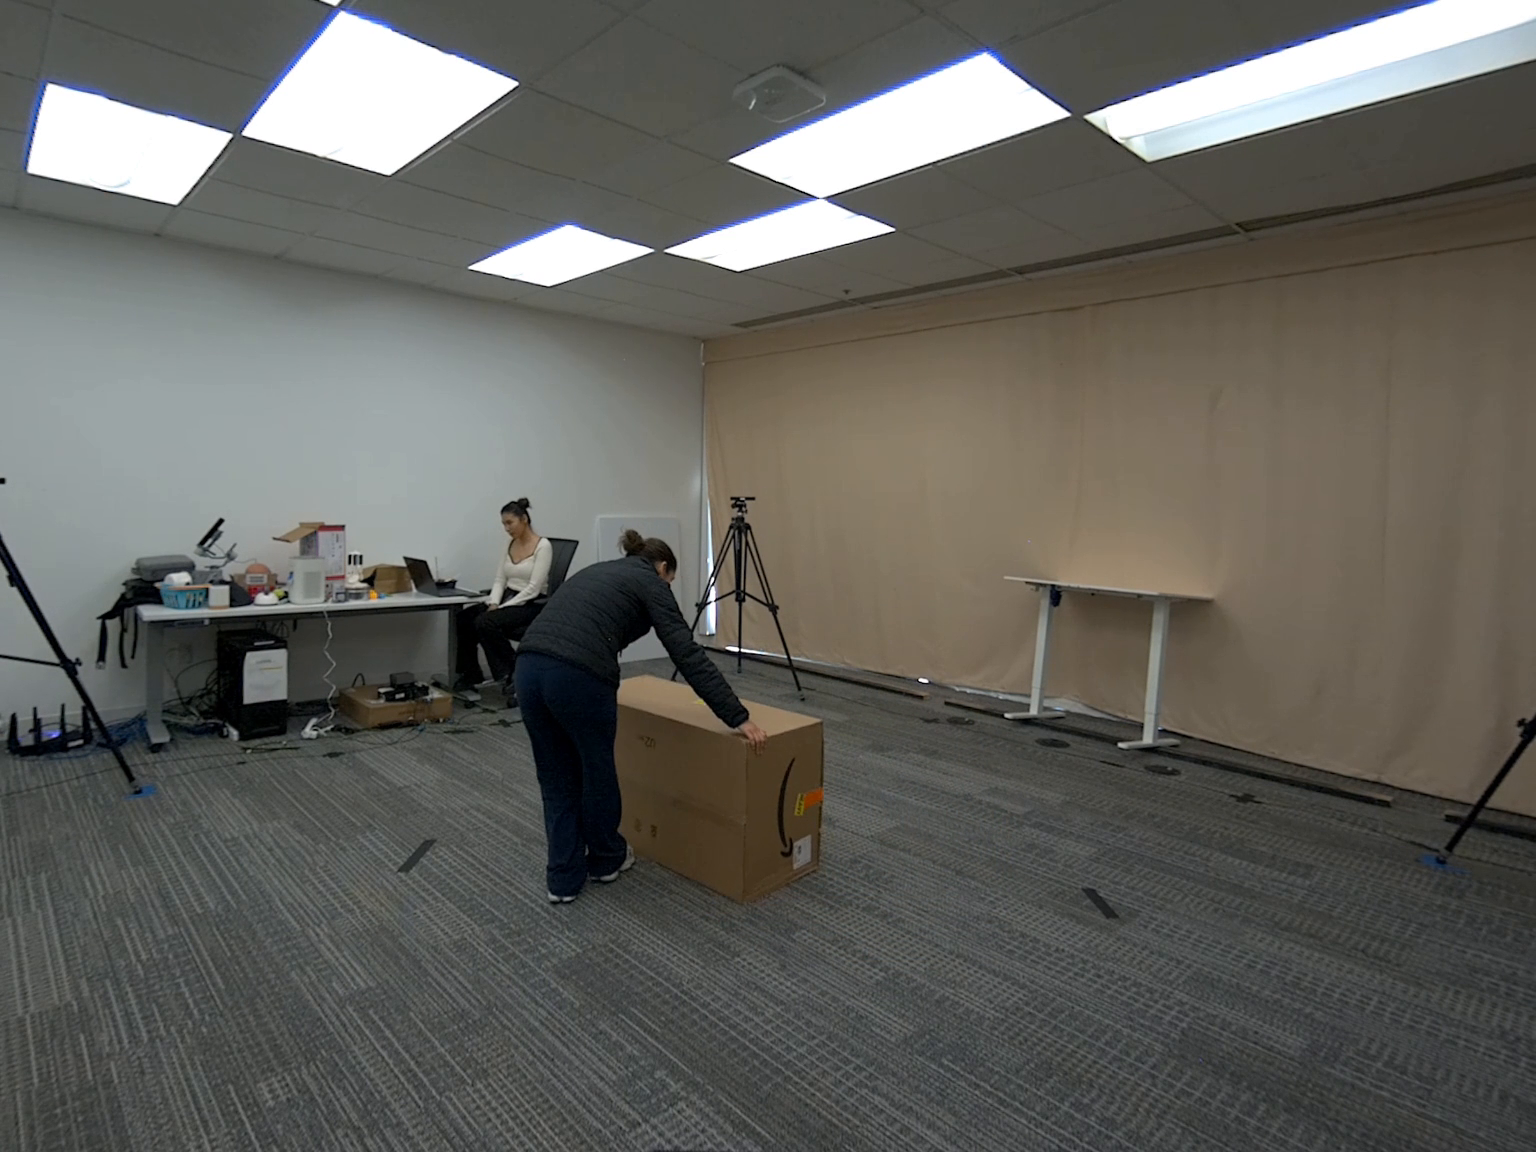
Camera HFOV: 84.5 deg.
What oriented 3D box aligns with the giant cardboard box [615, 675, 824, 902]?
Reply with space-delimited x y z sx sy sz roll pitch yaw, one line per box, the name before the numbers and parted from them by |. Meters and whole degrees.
giant cardboard box | -0.320 0.794 3.351 1.053 0.582 0.436 6 5 42
